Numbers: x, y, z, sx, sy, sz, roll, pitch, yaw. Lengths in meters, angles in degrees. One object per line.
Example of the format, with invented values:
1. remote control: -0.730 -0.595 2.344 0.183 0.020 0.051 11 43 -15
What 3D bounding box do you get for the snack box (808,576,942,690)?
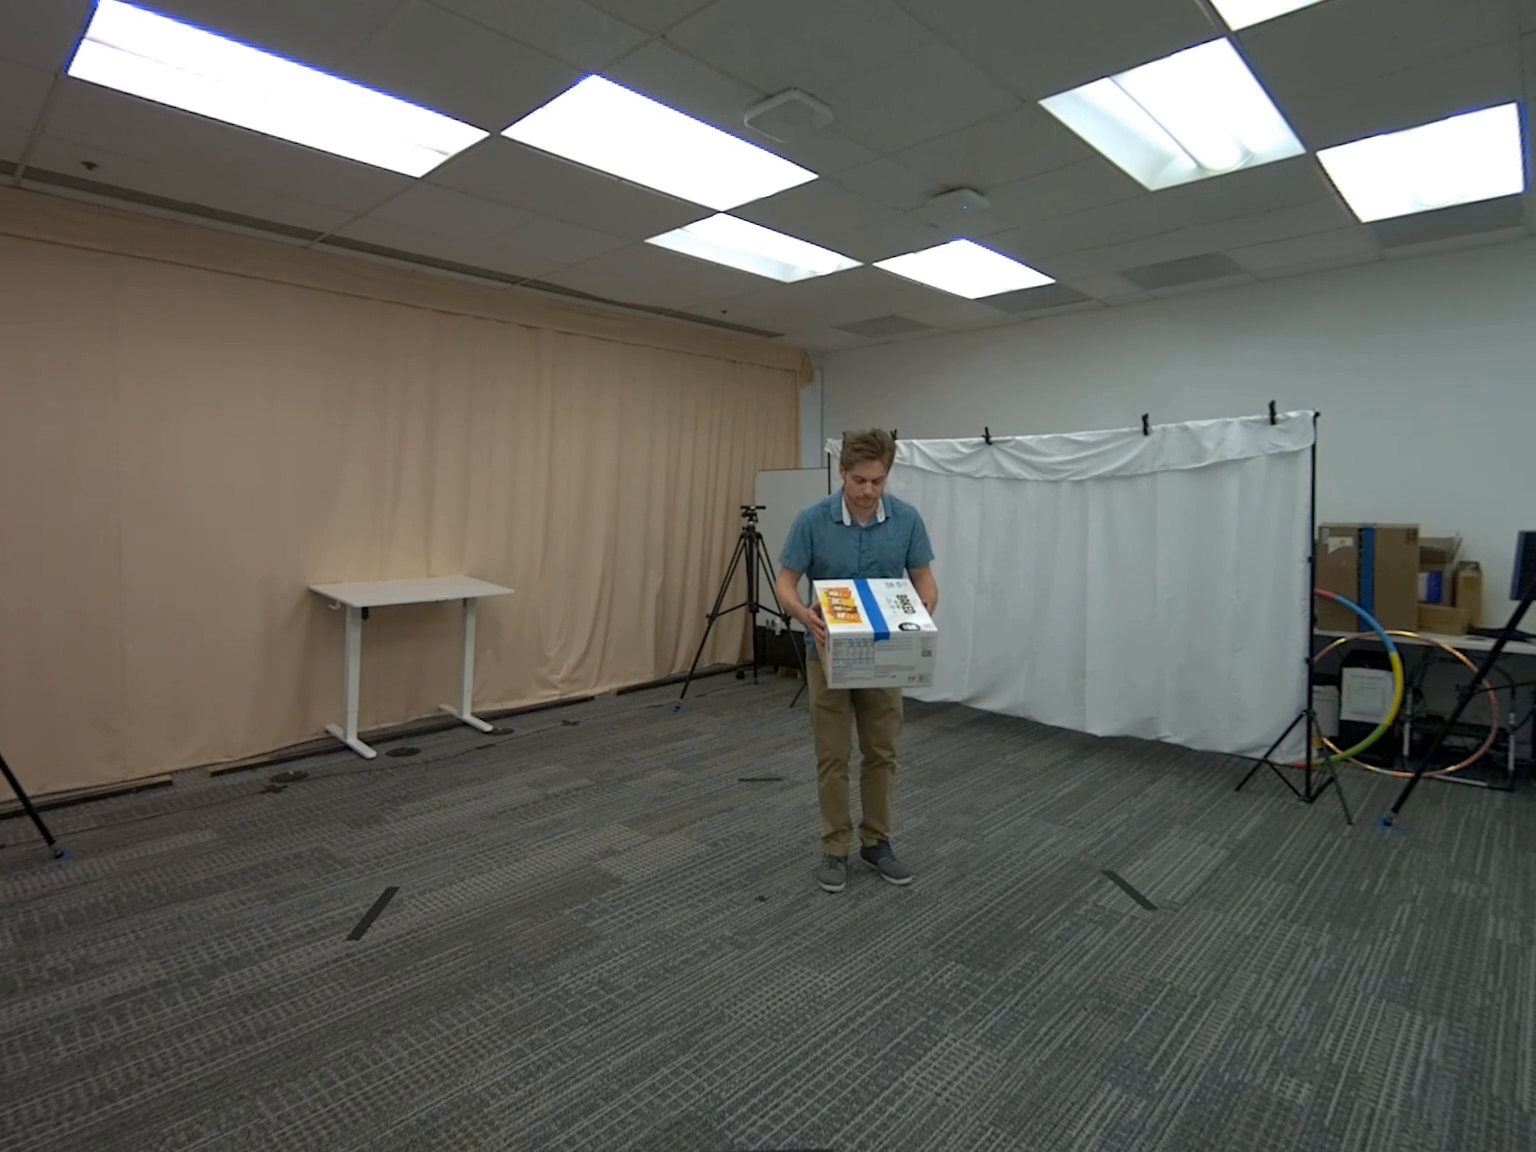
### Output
1. snack box: 0.337 0.177 2.815 0.339 0.203 0.412 -2 24 -5
